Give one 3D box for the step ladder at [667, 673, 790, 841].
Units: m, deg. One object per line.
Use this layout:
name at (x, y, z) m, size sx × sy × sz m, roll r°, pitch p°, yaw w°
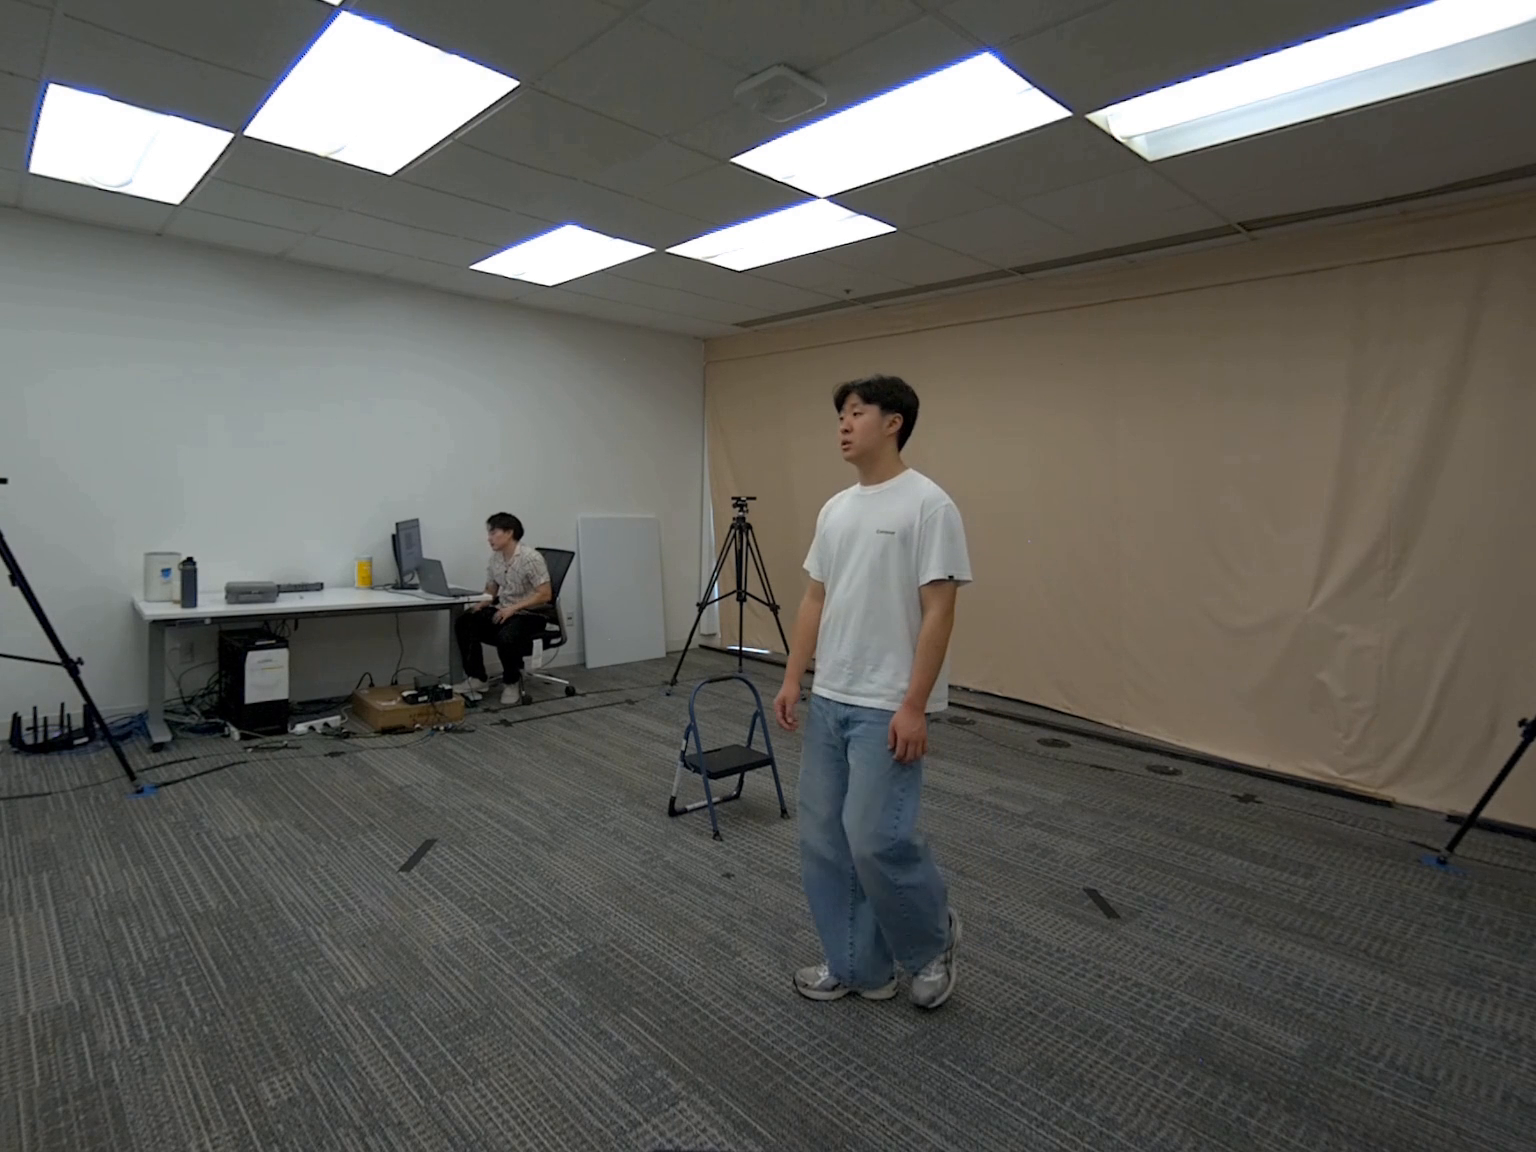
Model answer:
step ladder at (-0.172, 0.751, 3.670) m, size 0.420 × 0.604 × 0.358 m, roll -1°, pitch 5°, yaw -44°
